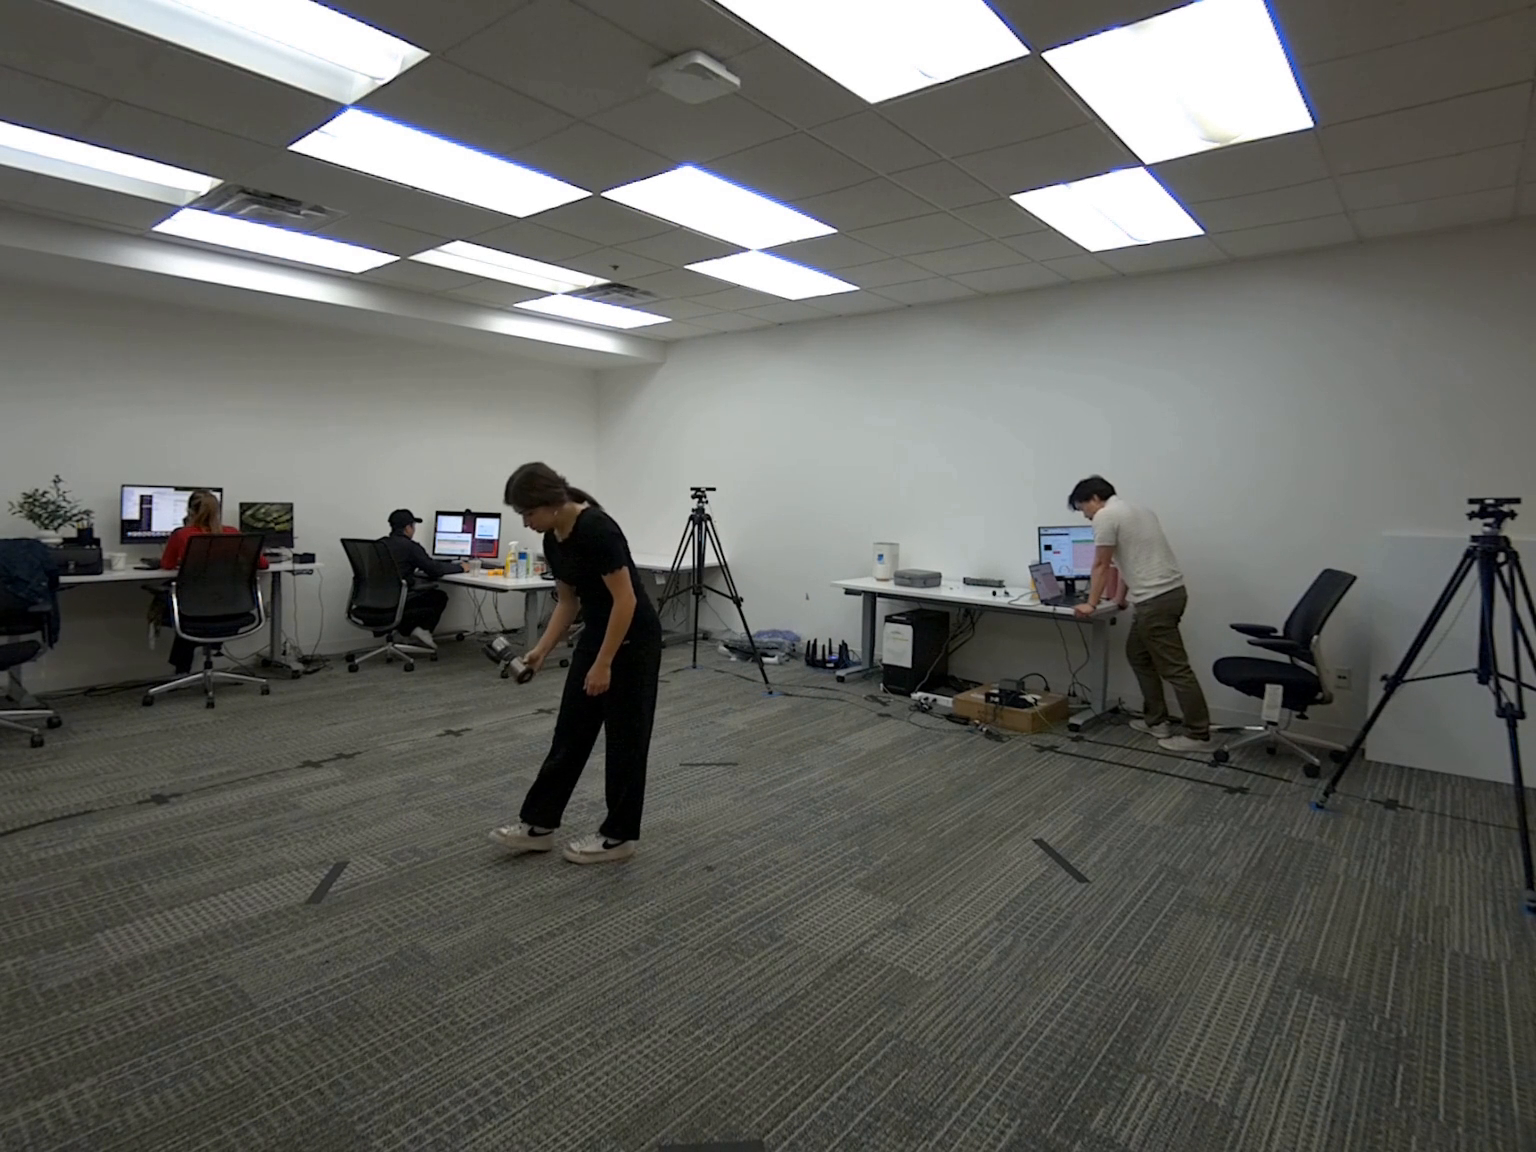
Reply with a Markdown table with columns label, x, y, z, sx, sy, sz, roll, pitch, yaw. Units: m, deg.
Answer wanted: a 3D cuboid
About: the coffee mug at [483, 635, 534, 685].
| label | x | y | z | sx | sy | sz | roll | pitch | yaw |
| --- | --- | --- | --- | --- | --- | --- | --- | --- | --- |
| coffee mug | -0.976 | 0.318 | 3.102 | 0.209 | 0.087 | 0.119 | 42 | 35 | 21 |
